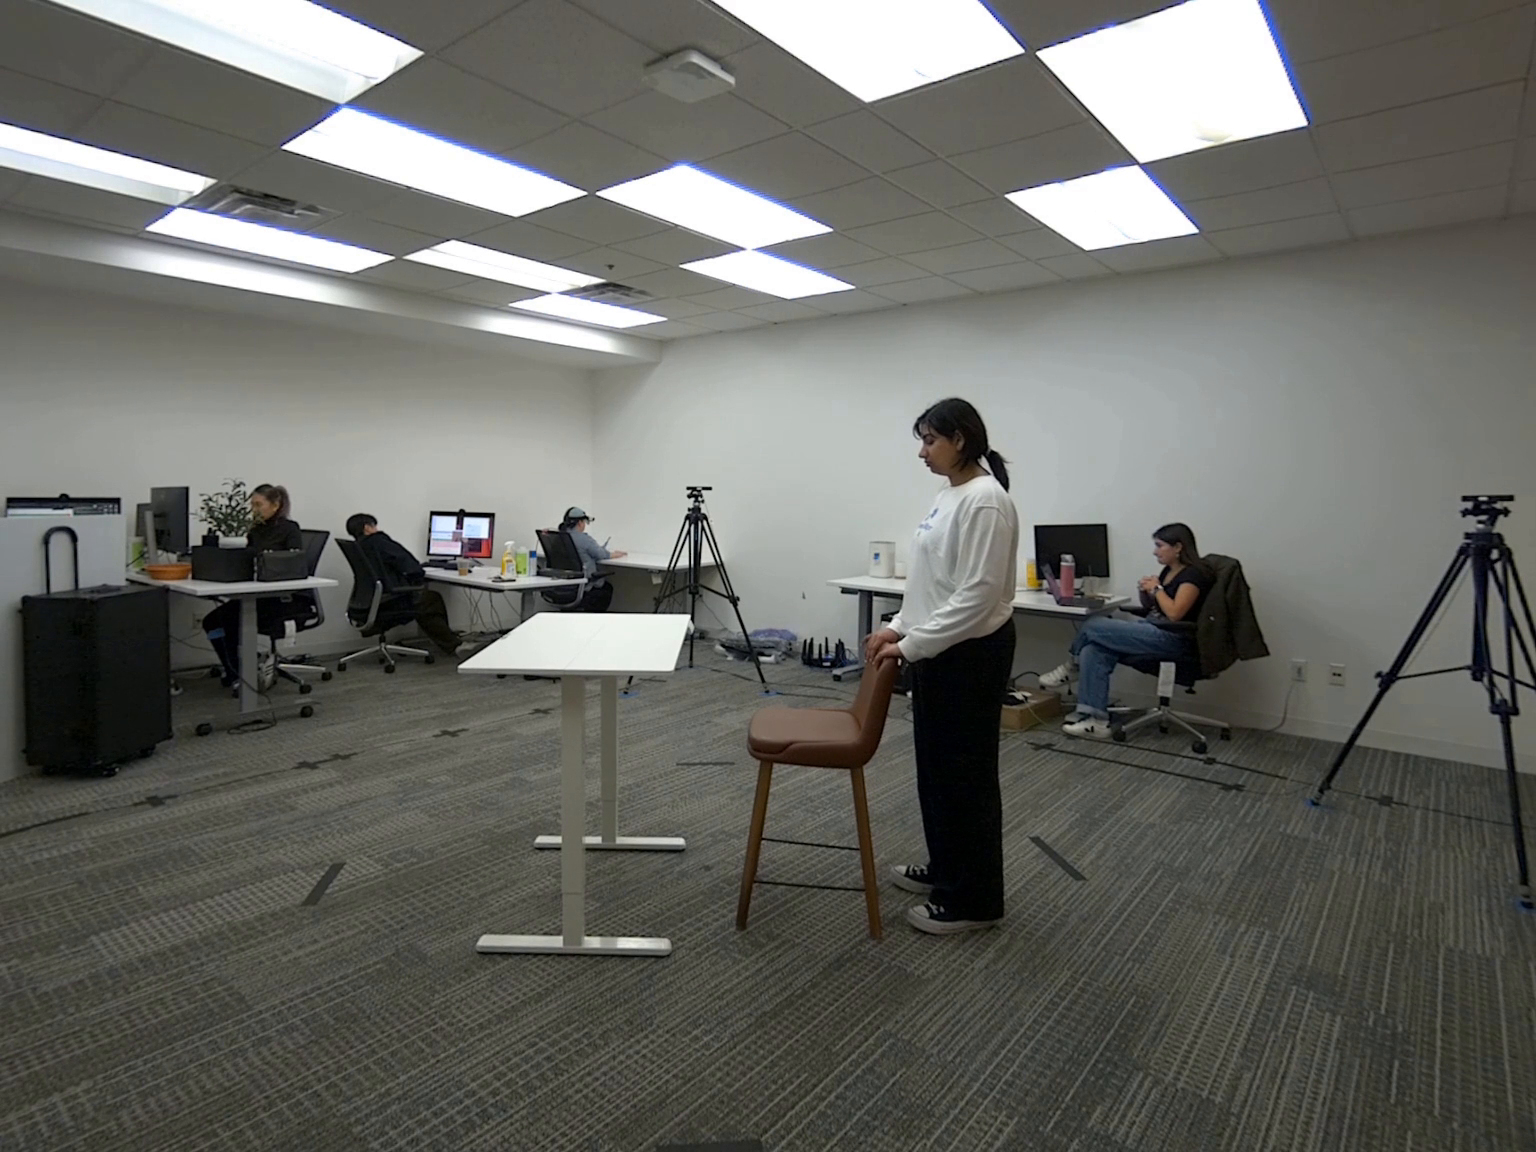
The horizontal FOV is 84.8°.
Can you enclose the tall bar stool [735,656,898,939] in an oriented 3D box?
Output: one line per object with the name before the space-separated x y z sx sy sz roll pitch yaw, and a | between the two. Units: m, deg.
tall bar stool | 0.163 0.665 2.833 0.471 0.888 0.454 5 3 6
